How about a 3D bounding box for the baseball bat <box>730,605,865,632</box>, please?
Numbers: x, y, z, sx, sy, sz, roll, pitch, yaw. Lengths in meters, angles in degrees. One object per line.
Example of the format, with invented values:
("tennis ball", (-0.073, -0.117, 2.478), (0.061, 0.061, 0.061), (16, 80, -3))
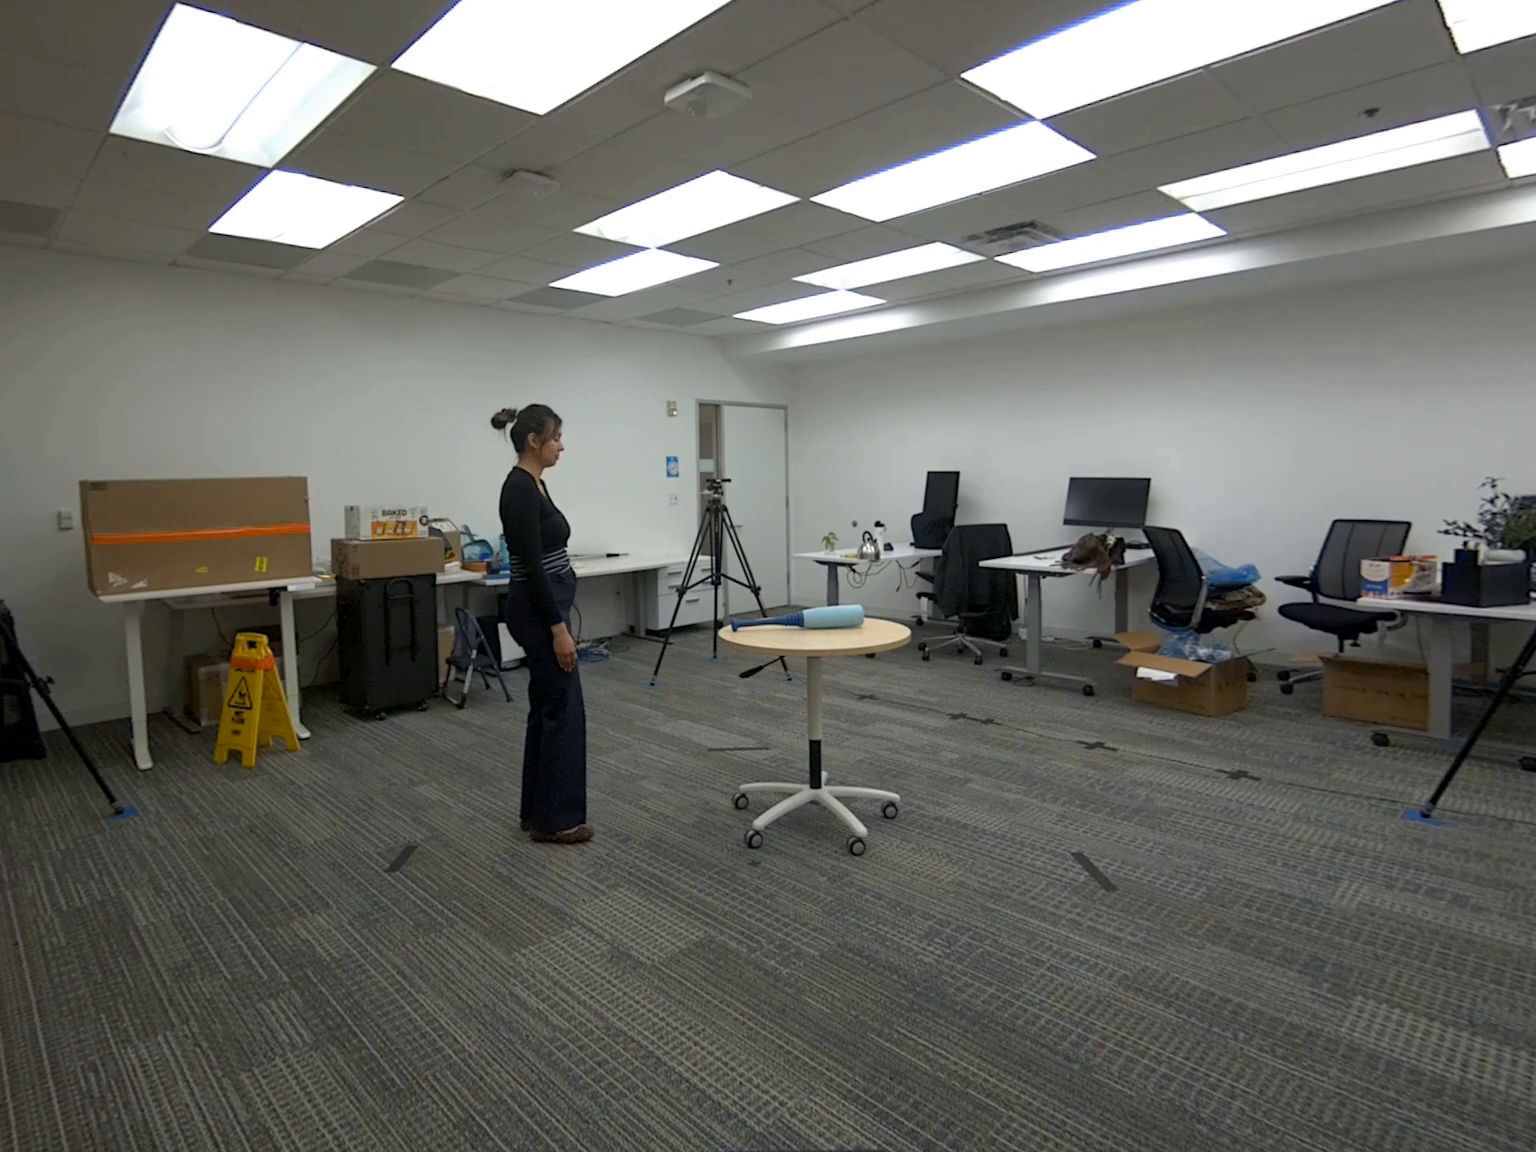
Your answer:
("baseball bat", (0.118, 0.179, 3.476), (0.541, 0.089, 0.090), (-4, 5, -3))
